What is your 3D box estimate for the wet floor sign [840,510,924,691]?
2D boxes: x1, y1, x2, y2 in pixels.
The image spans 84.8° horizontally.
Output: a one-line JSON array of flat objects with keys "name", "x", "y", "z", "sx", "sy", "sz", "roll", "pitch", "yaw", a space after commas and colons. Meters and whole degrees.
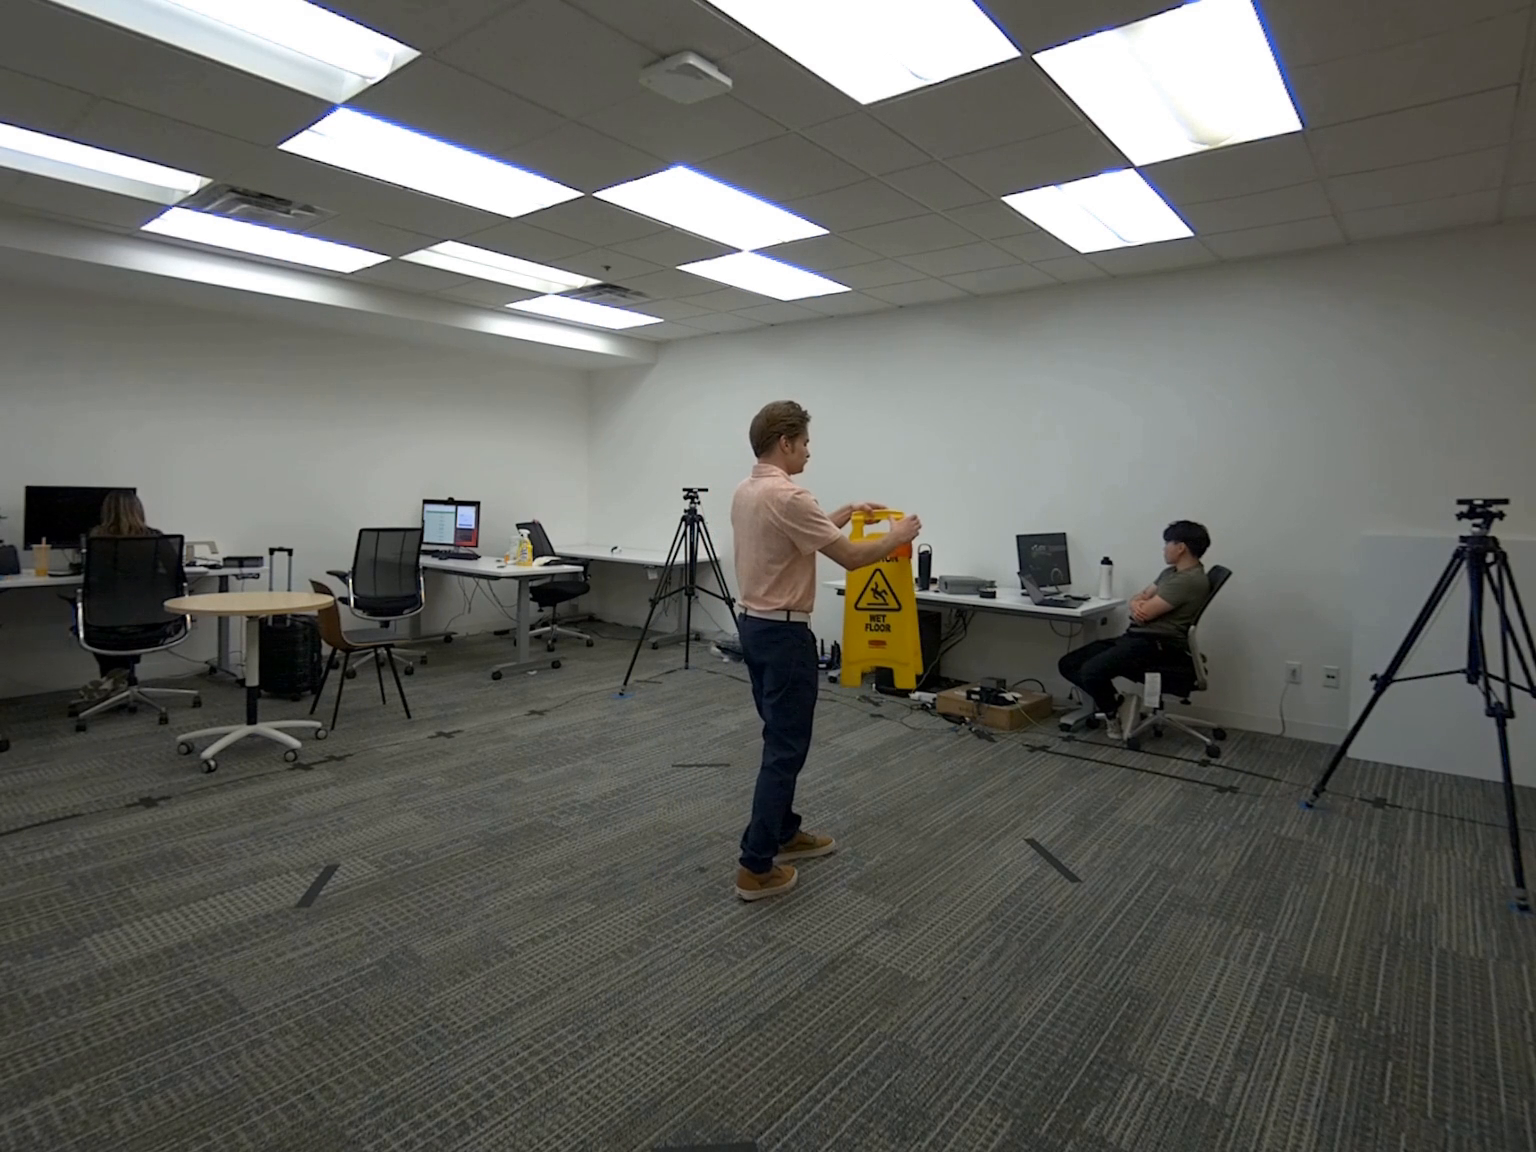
[{"name": "wet floor sign", "x": 0.417, "y": 0.077, "z": 3.249, "sx": 0.288, "sy": 0.643, "sz": 0.285, "roll": 0, "pitch": 5, "yaw": 17}]
